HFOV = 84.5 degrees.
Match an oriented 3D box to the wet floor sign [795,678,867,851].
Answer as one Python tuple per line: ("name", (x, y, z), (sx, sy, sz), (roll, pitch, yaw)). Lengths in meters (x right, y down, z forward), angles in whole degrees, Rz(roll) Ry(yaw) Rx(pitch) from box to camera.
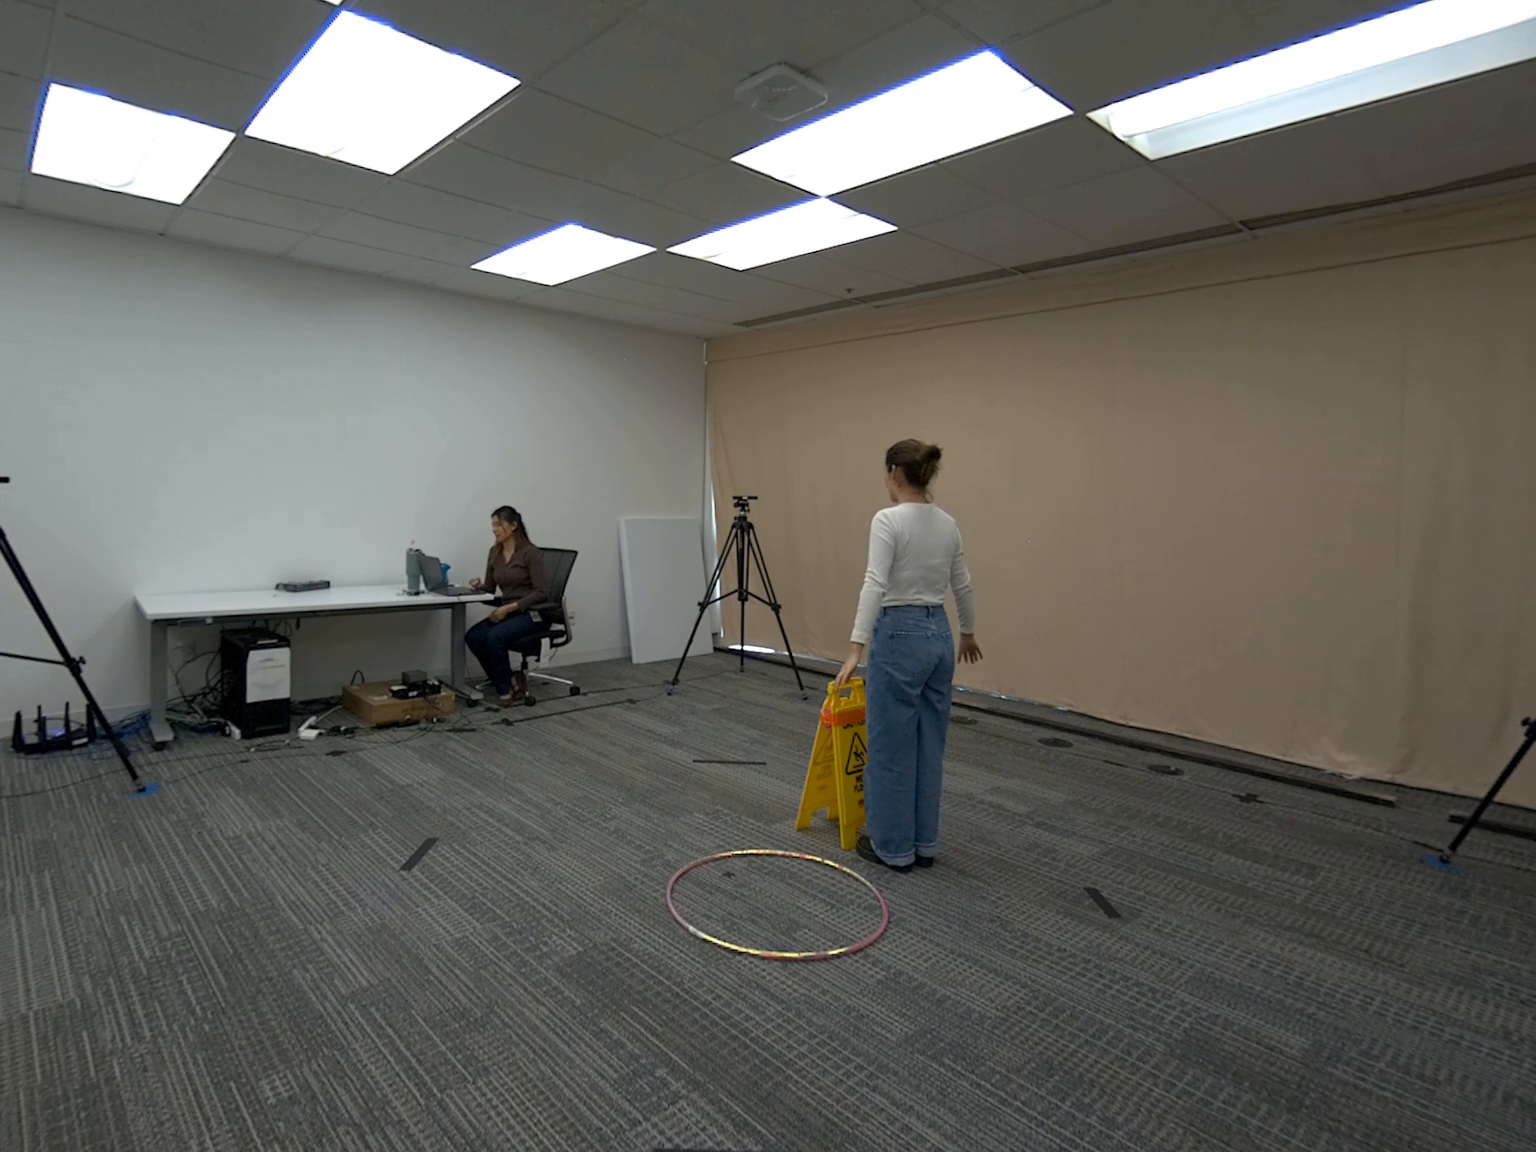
("wet floor sign", (0.307, 0.753, 3.519), (0.275, 0.645, 0.297), (0, 3, -43))
